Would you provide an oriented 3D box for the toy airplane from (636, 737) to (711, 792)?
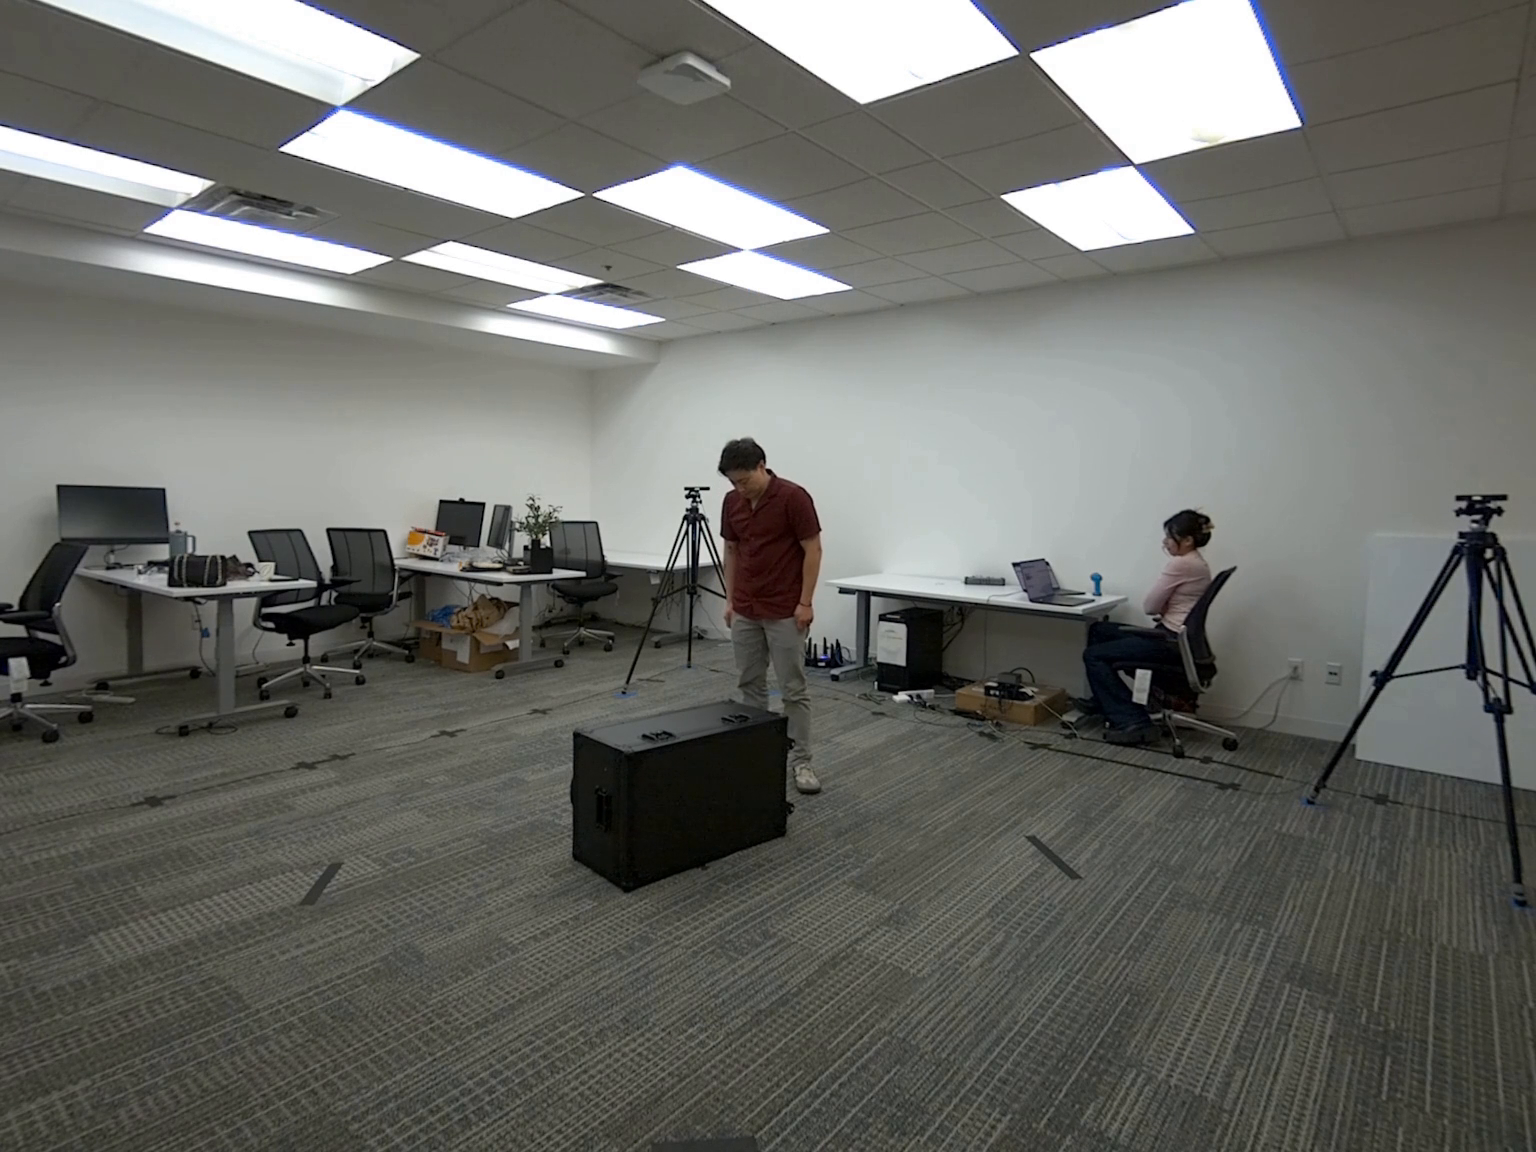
[{"bbox_3d":[-0.449,0.894,4.012,0.266,0.156,0.245,1,4,26],"label":"toy airplane"}]
